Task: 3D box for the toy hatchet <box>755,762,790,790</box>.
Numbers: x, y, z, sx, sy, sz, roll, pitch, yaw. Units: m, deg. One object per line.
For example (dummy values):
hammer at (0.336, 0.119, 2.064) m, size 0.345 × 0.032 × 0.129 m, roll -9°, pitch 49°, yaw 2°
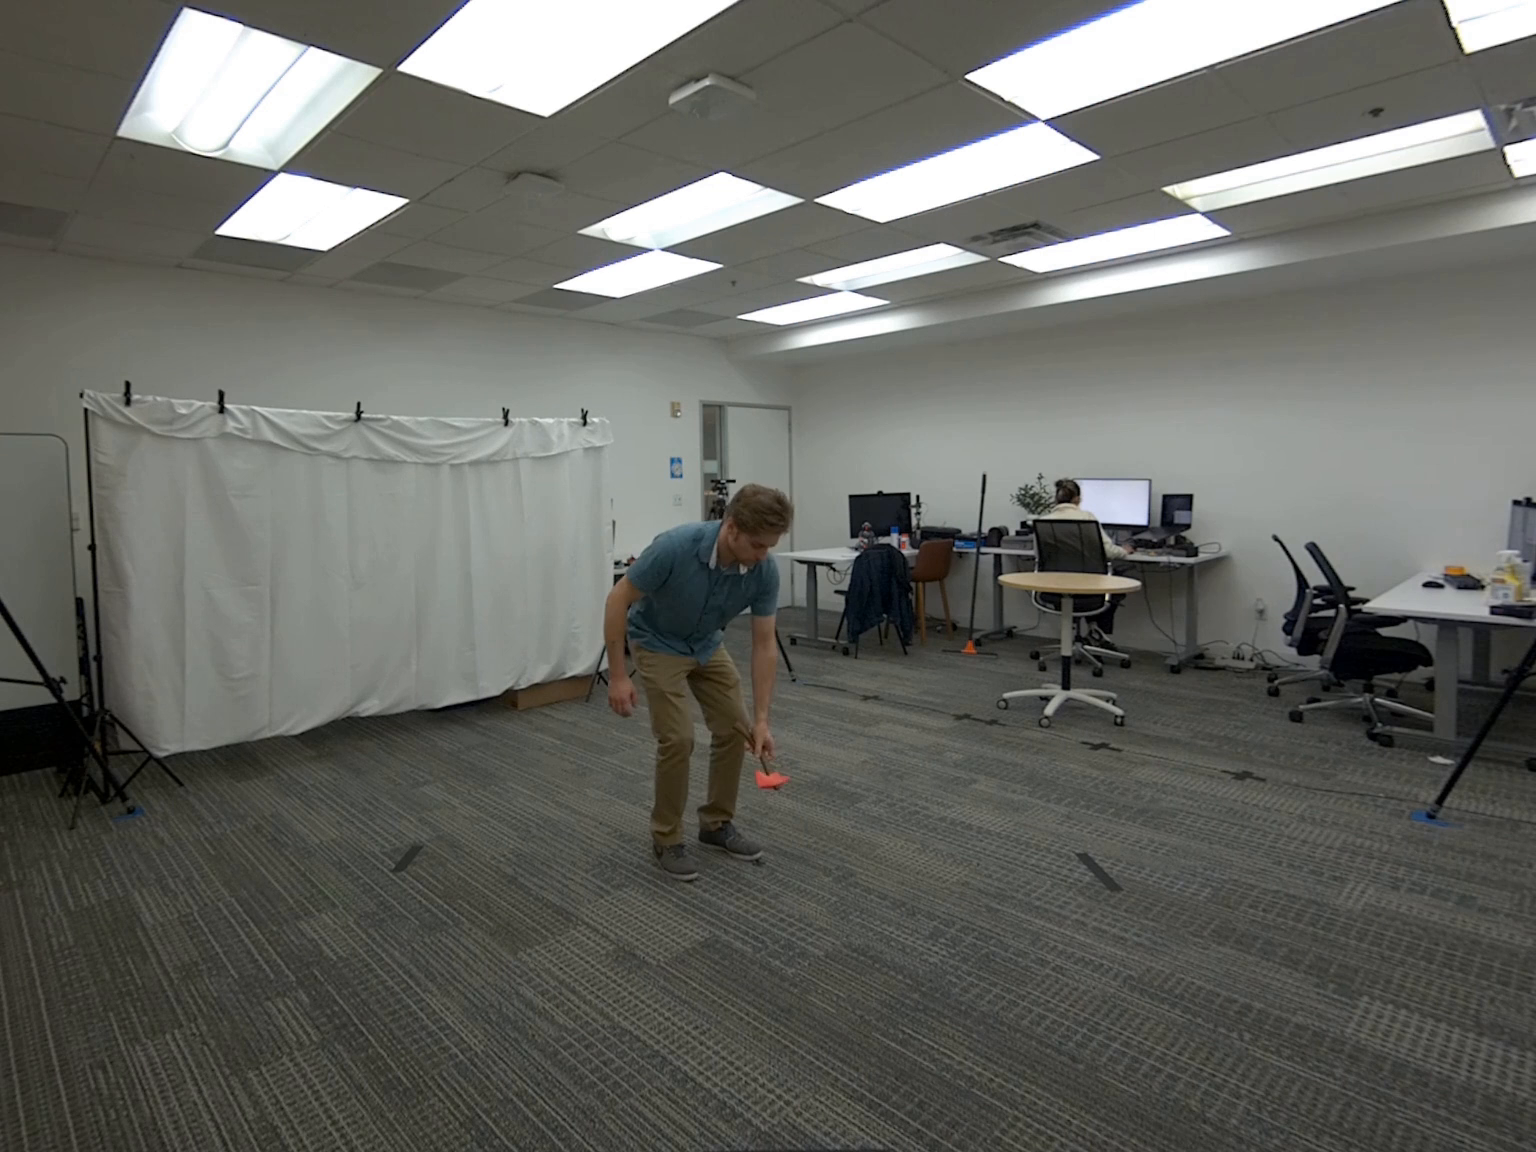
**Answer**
toy hatchet at (-0.044, 0.626, 2.929) m, size 0.278 × 0.029 × 0.129 m, roll 40°, pitch 40°, yaw 22°
